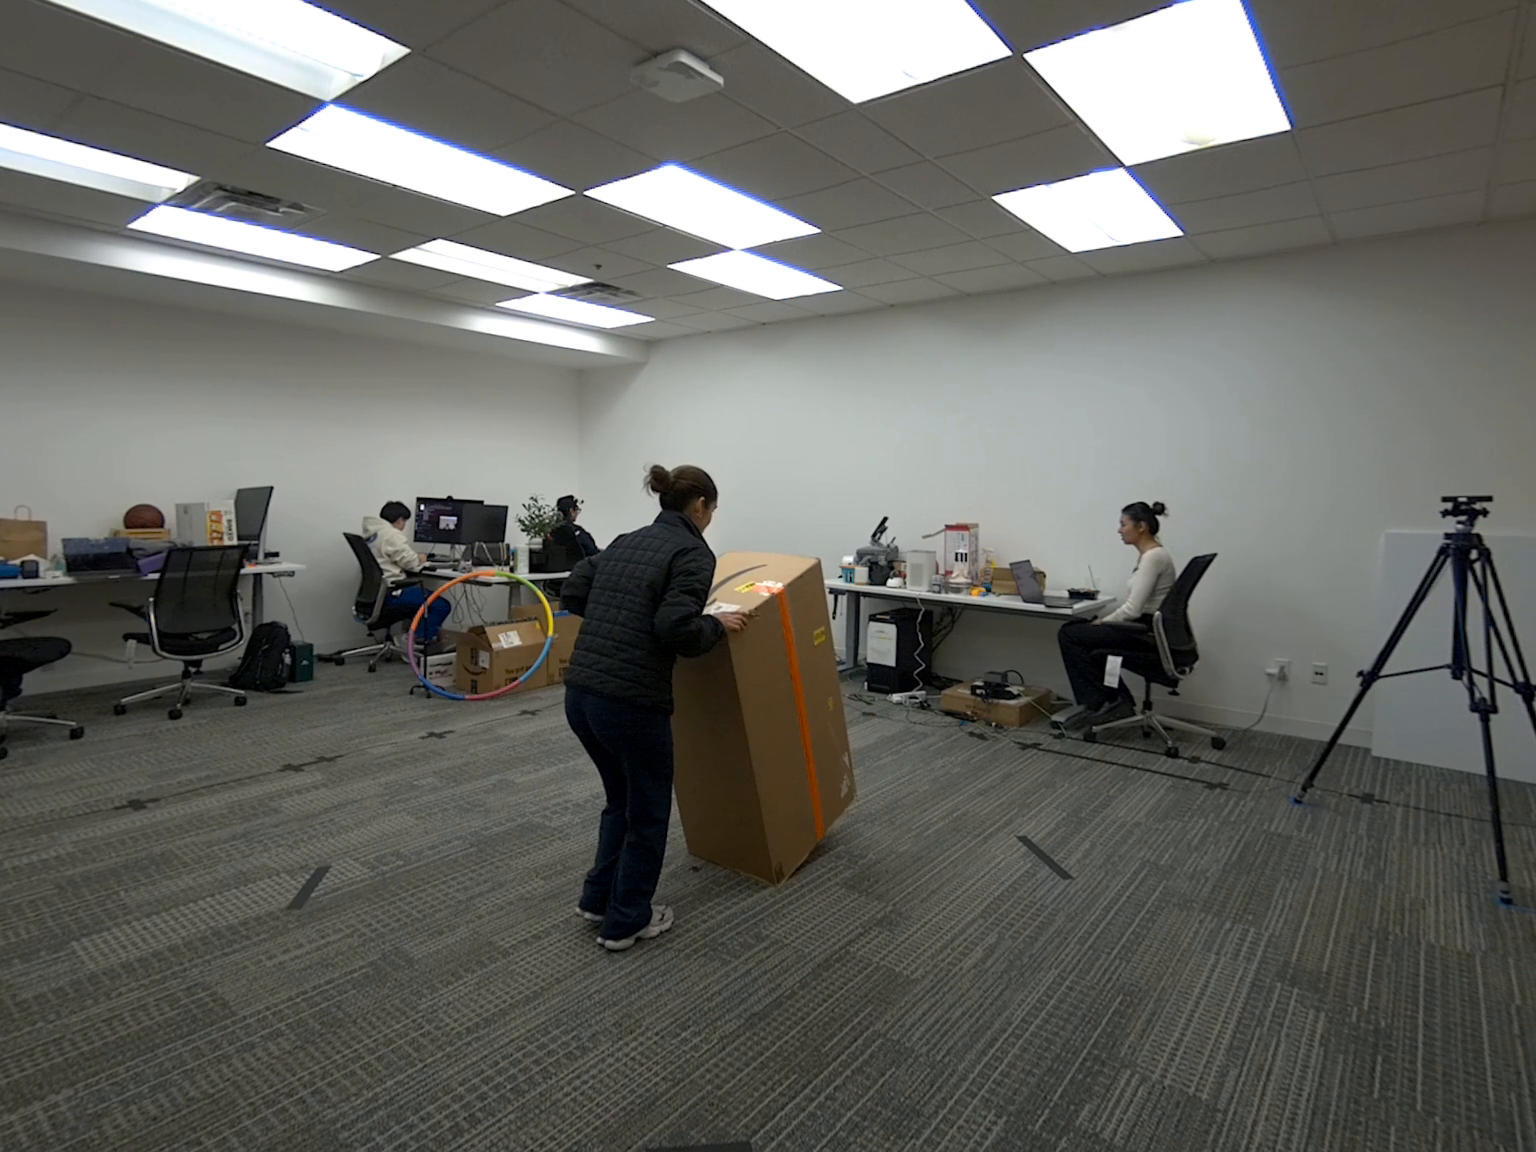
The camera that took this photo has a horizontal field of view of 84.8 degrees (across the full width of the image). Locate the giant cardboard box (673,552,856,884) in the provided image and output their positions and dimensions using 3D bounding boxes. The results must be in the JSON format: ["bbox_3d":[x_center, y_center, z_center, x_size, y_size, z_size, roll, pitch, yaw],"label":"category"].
[{"bbox_3d":[-0.038,0.491,3.167,0.462,1.006,0.576,6,25,39],"label":"giant cardboard box"}]
